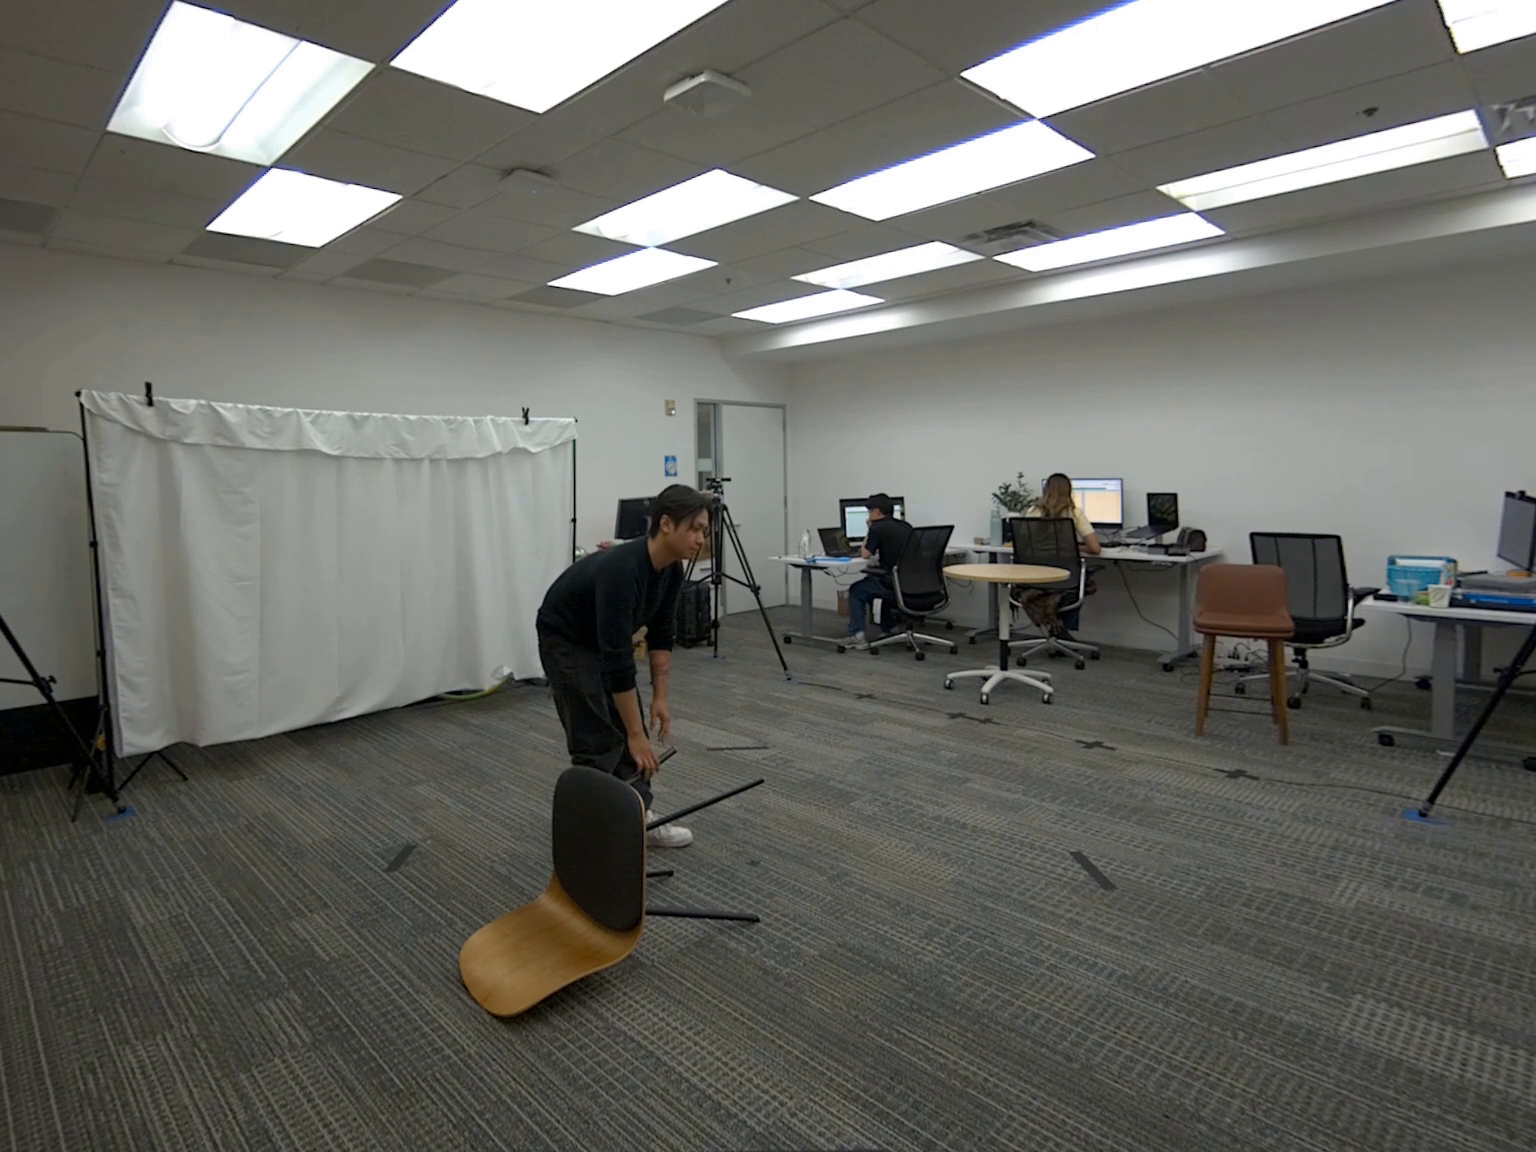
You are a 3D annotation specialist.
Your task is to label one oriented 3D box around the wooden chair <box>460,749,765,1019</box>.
[{"bbox_3d":[-0.481,0.856,2.575,0.855,0.520,0.493,-8,9,-43],"label":"wooden chair"}]
